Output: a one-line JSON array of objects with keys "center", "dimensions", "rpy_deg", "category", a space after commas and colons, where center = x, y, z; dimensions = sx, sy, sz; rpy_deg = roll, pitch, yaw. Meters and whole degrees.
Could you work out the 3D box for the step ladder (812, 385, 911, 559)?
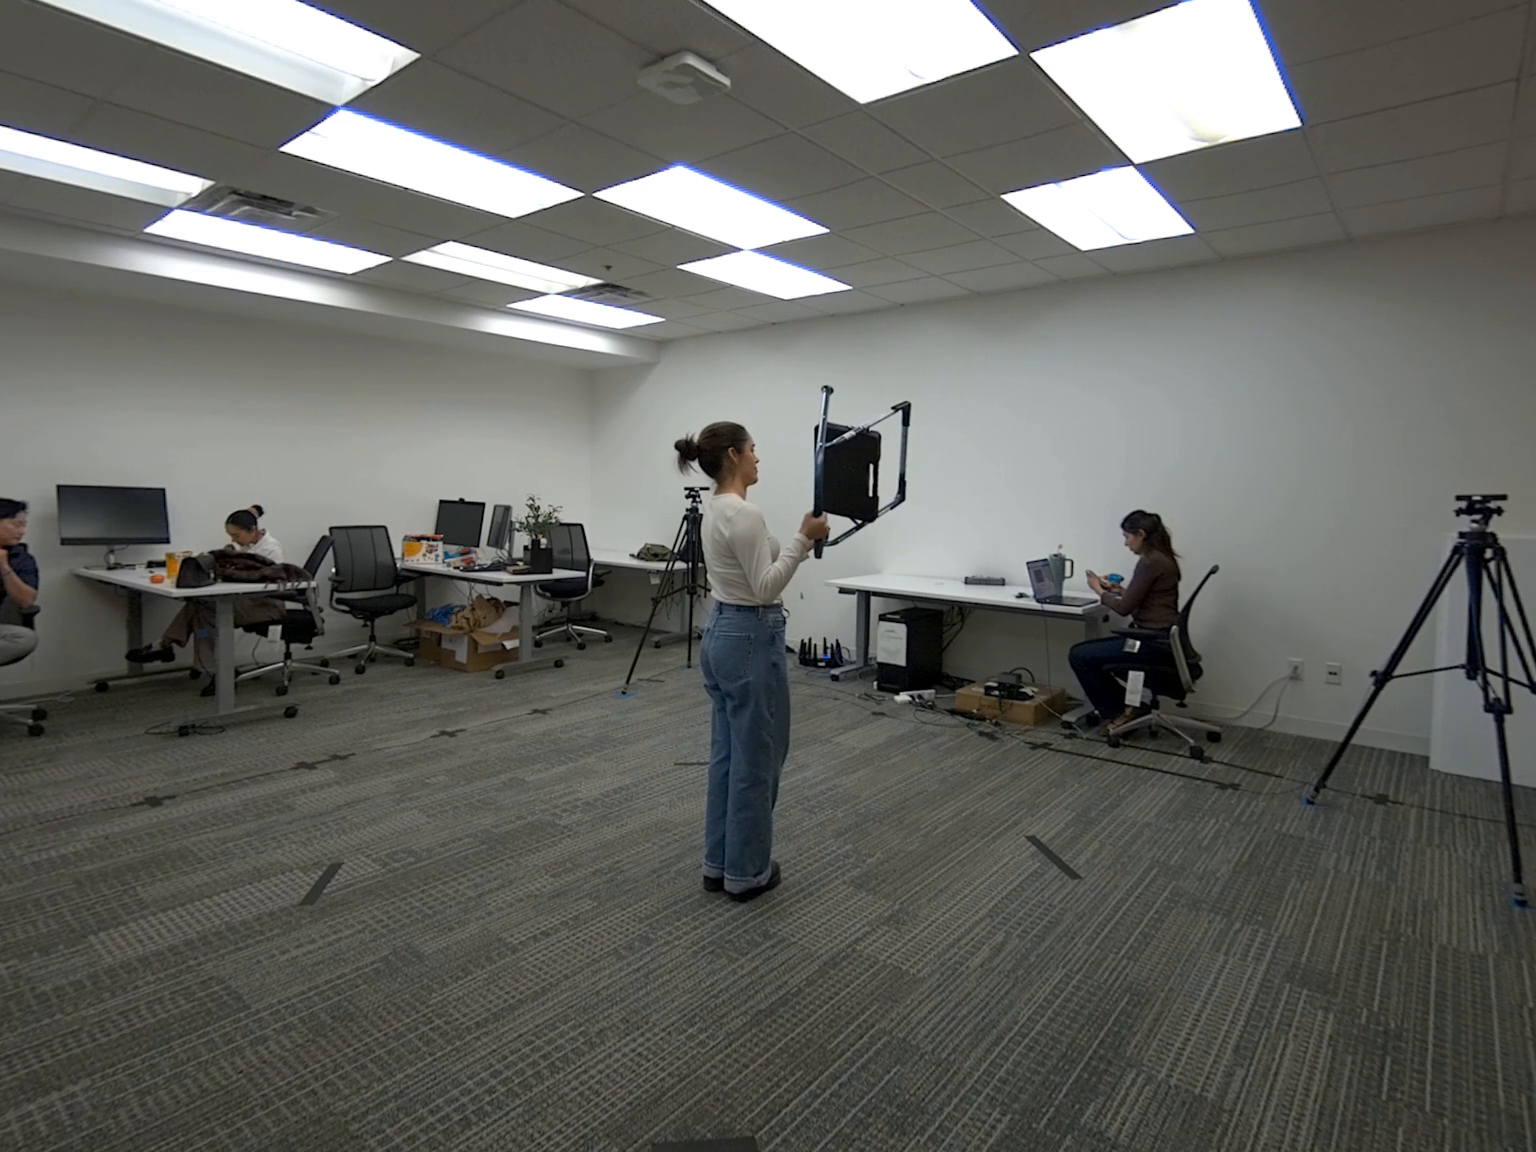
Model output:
[{"center": [0.230, -0.345, 3.019], "dimensions": [0.360, 0.418, 0.605], "rpy_deg": [14, 38, 25], "category": "step ladder"}]
